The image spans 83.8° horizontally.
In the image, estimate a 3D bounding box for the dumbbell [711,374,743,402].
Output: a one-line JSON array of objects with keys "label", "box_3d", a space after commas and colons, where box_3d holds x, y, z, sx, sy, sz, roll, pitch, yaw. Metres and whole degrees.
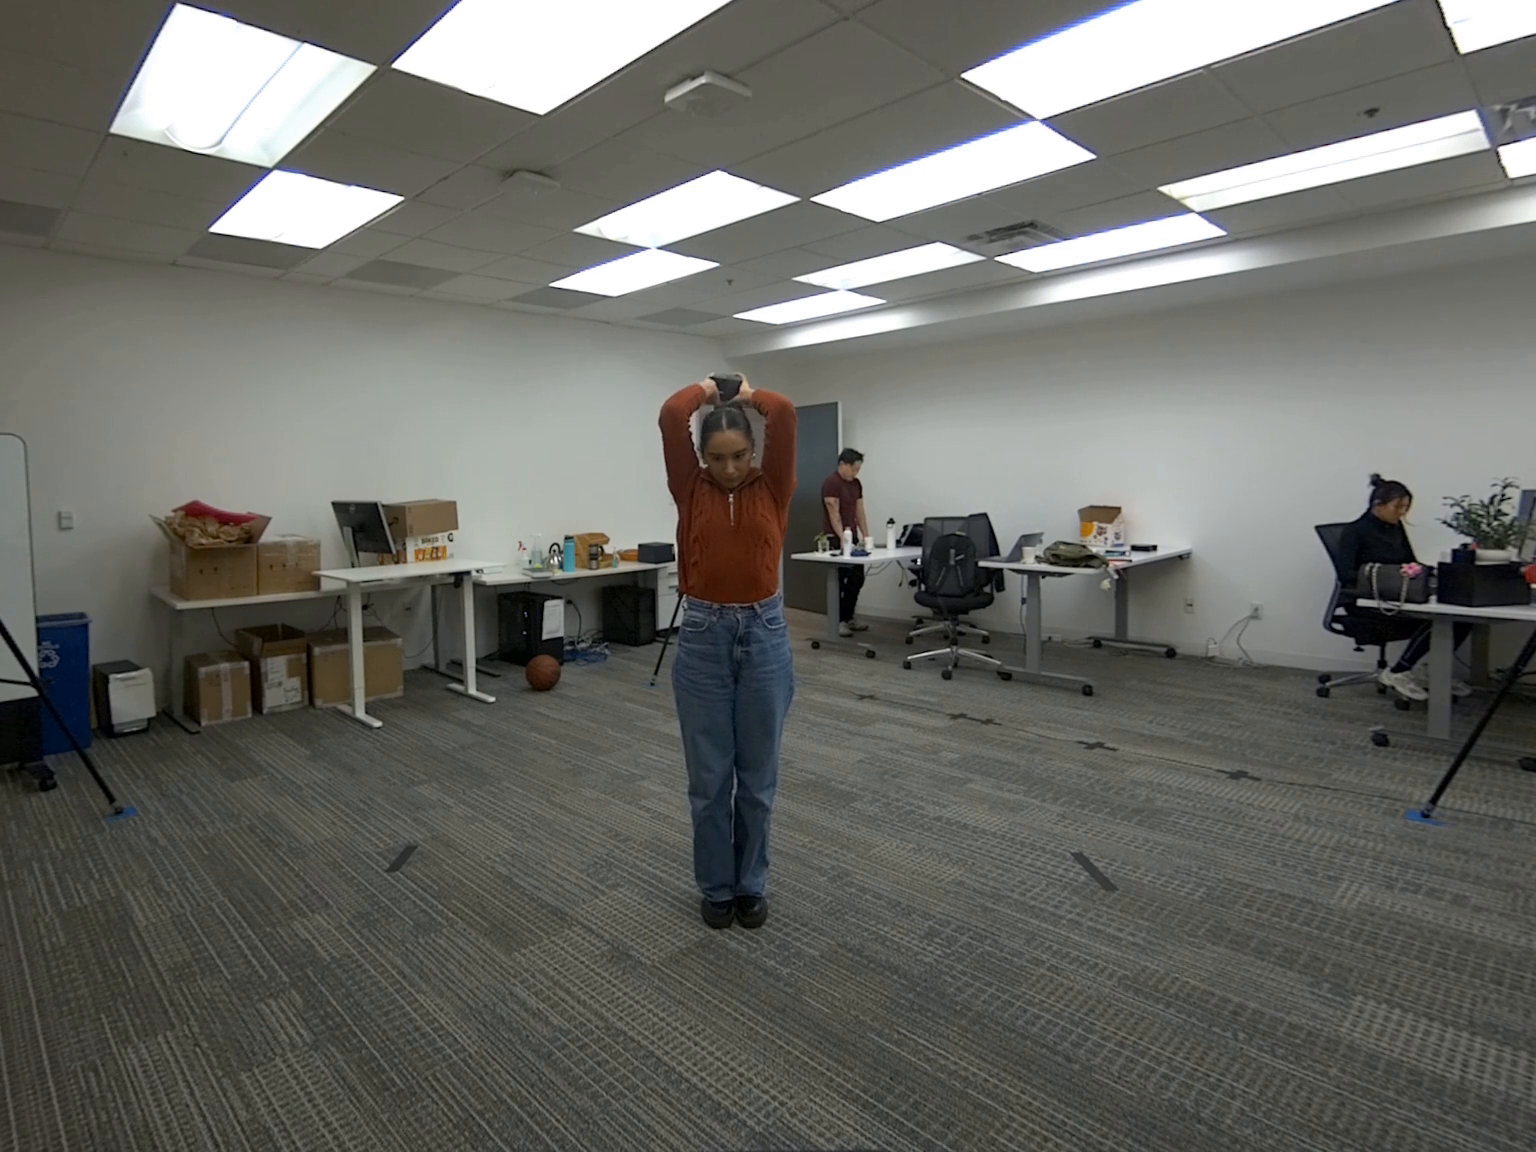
[{"label": "dumbbell", "box_3d": [-0.152, -0.533, 2.858, 0.107, 0.290, 0.126, 4, 16, -12]}]
